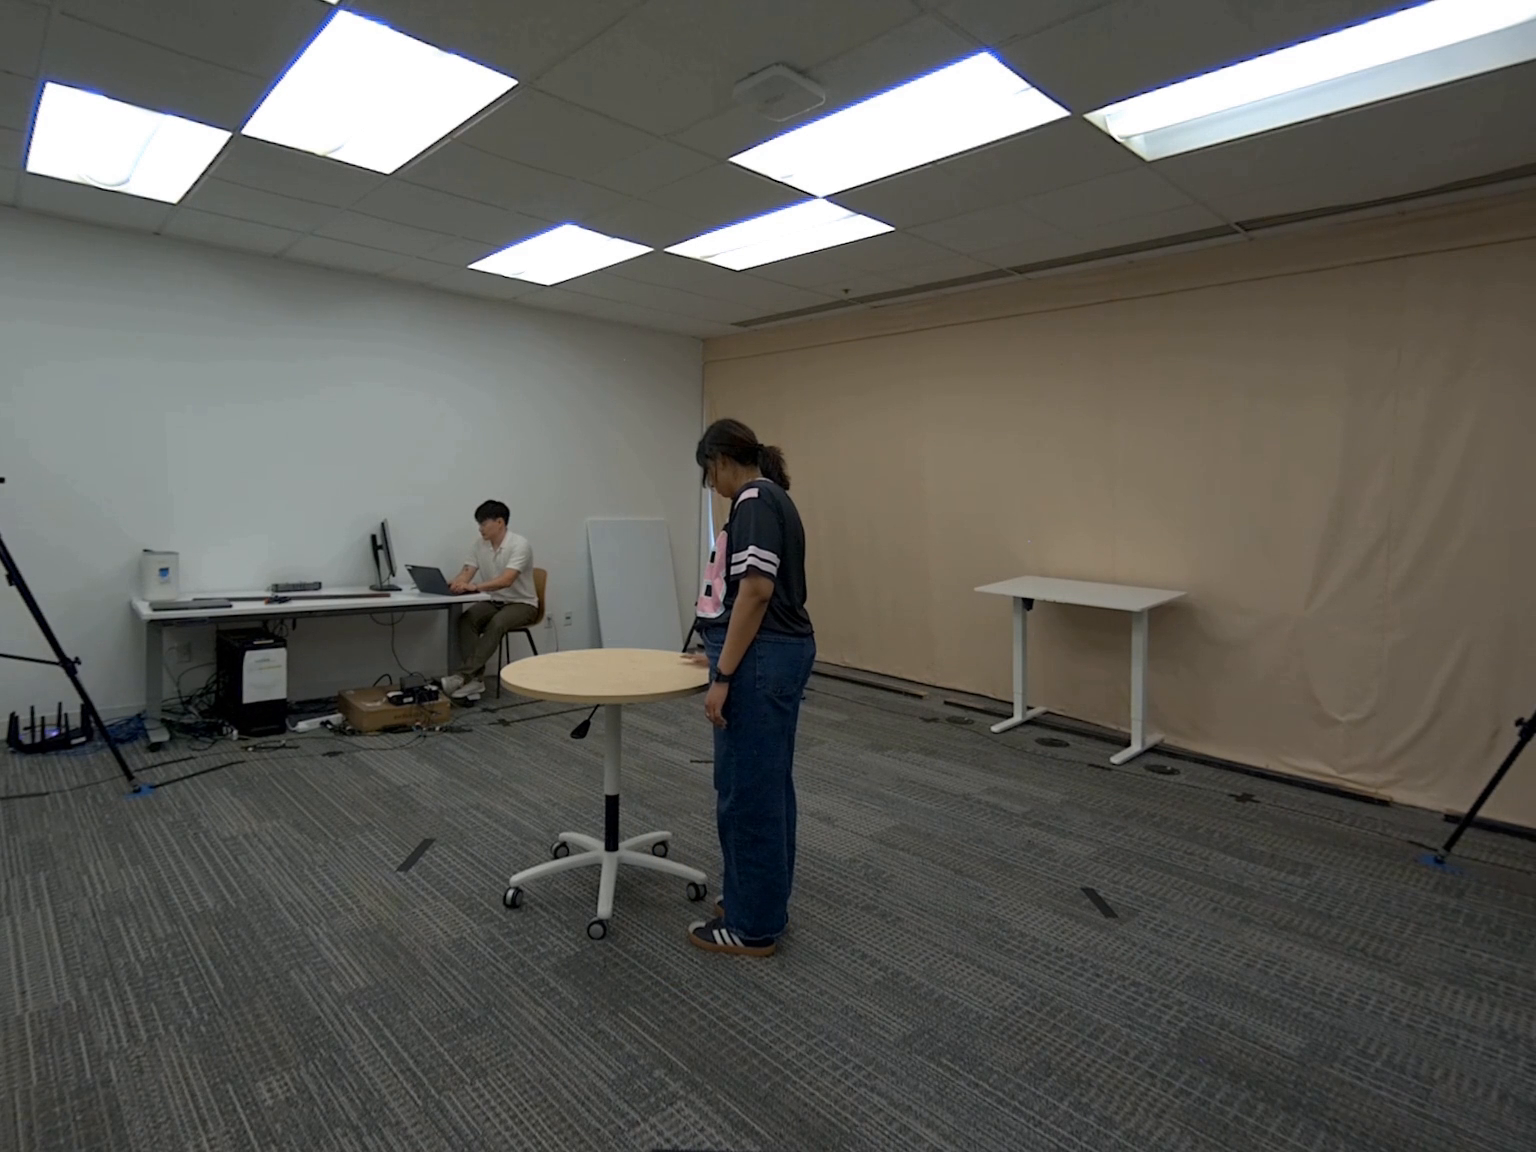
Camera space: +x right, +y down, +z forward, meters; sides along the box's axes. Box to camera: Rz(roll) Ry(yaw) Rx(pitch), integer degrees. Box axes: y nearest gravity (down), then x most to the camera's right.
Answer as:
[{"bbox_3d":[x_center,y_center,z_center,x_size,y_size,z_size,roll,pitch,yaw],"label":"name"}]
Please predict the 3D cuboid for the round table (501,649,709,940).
[{"bbox_3d":[-0.559,0.715,2.949,0.784,0.784,0.788,1,4,-1],"label":"round table"}]
